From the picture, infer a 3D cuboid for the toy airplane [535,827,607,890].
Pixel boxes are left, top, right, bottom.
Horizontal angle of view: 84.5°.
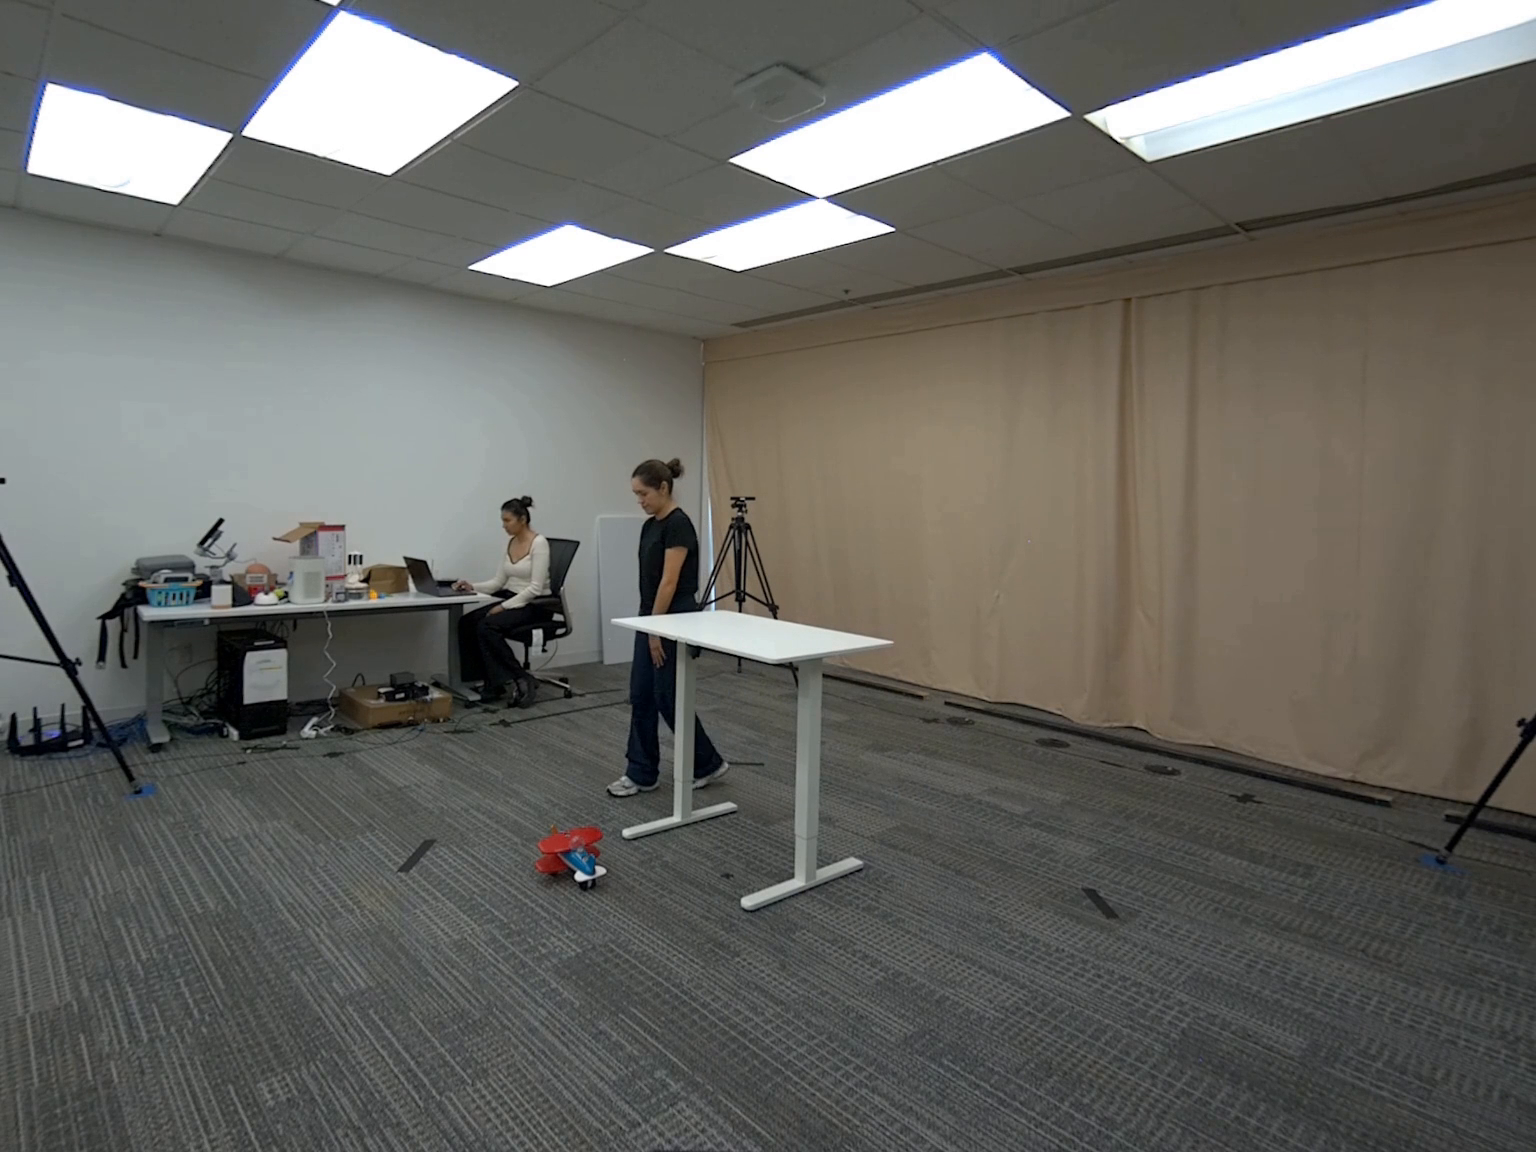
[{"bbox_3d":[-0.698,1.026,3.040,0.263,0.156,0.248,2,4,19],"label":"toy airplane"}]
